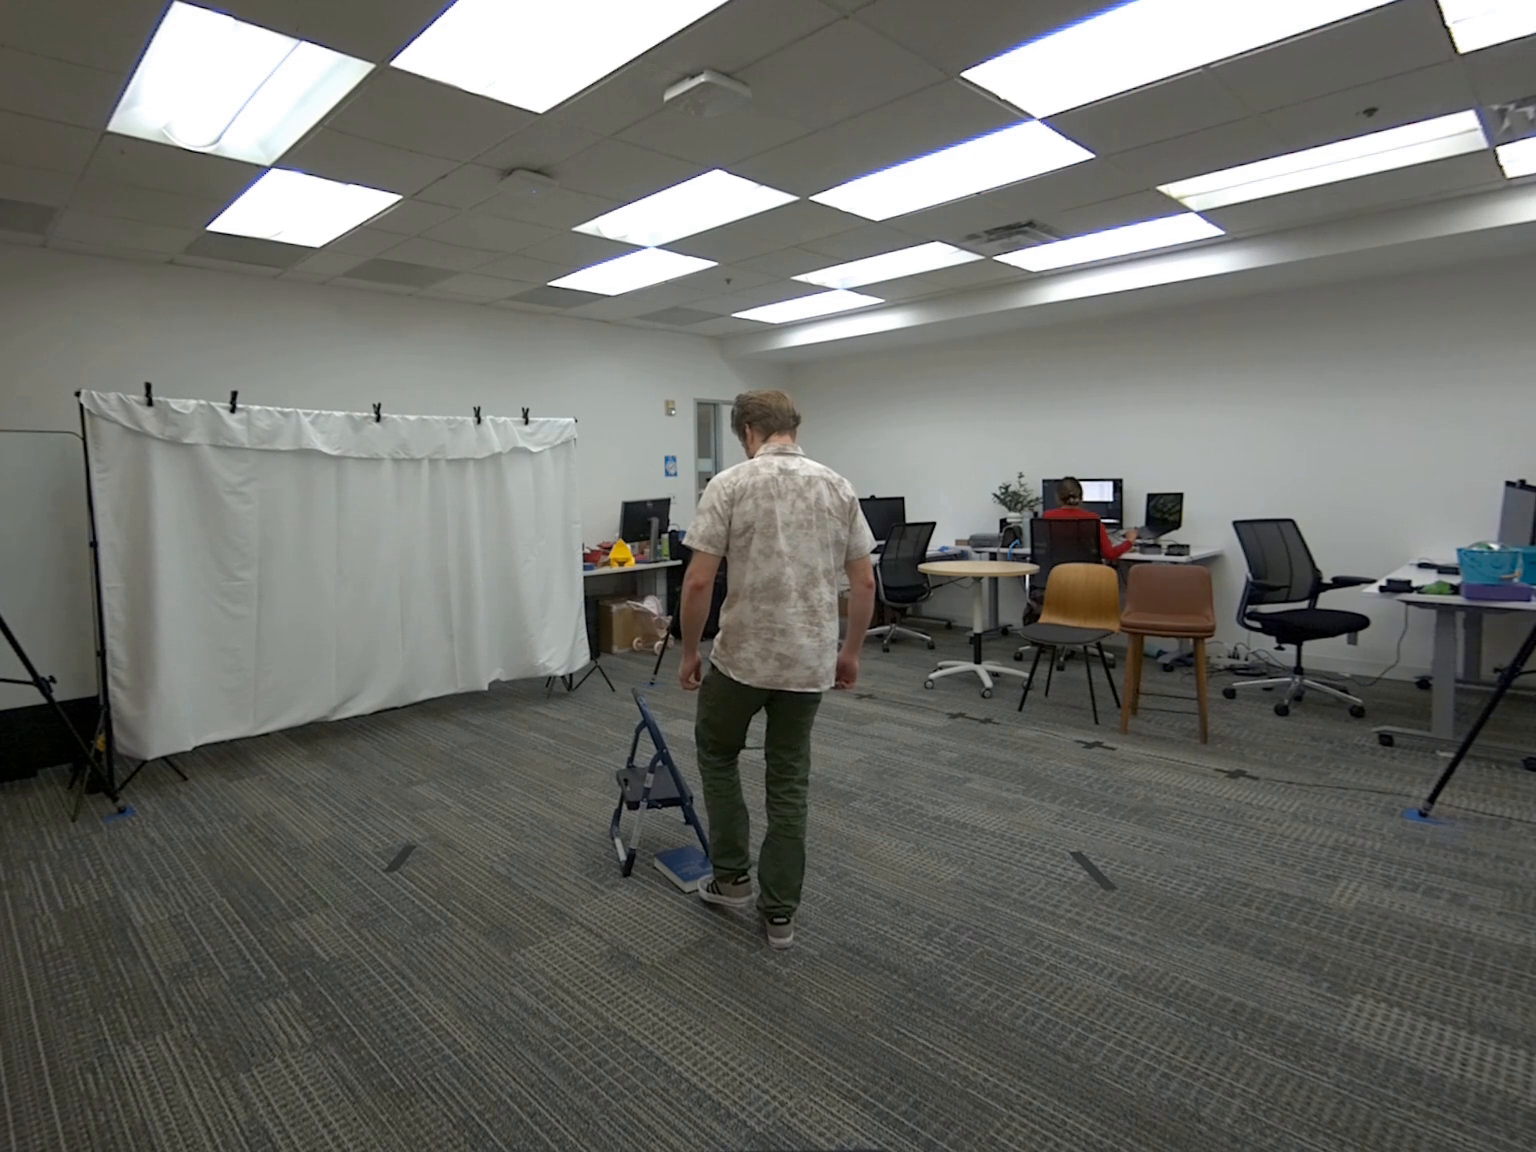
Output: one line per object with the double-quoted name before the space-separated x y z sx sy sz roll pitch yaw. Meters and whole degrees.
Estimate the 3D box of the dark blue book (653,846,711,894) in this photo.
"dark blue book" -0.278 1.034 3.017 0.159 0.045 0.252 -5 8 -33
